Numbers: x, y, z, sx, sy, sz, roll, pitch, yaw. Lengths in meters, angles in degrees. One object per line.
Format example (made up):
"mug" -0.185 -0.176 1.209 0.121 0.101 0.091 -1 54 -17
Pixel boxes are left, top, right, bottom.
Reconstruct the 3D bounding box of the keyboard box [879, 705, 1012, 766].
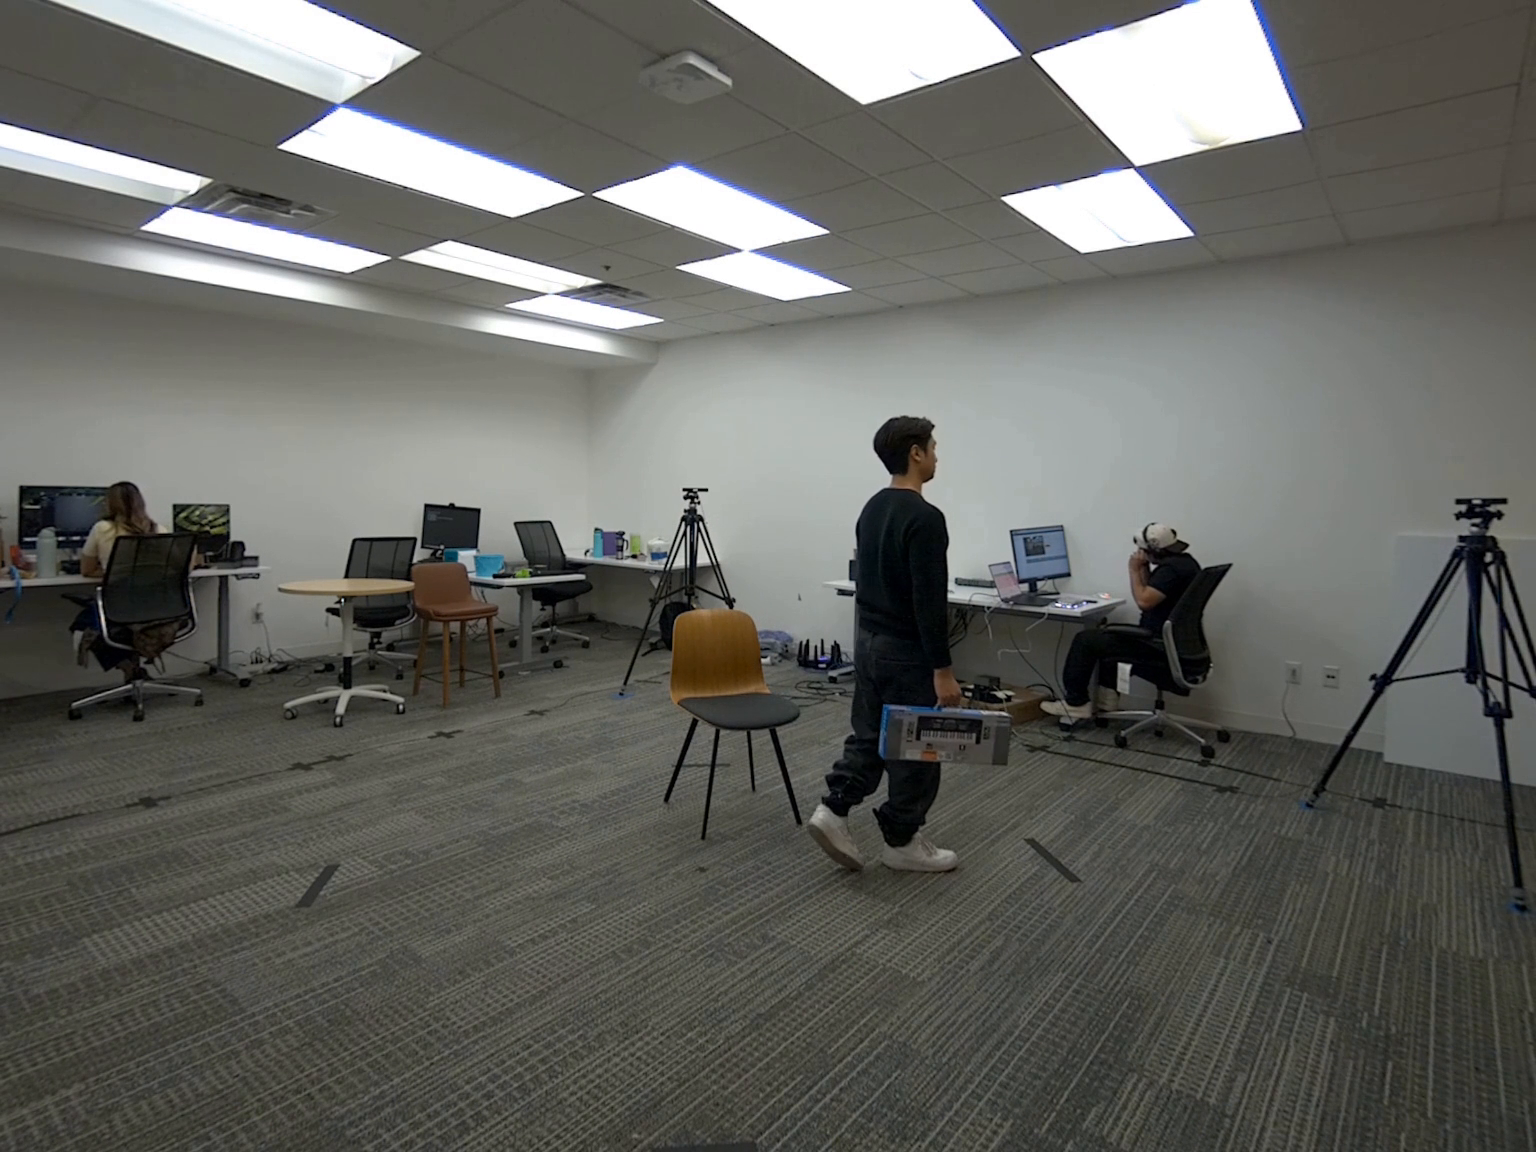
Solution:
"keyboard box" 0.600 0.532 2.881 0.433 0.175 0.060 4 3 -7
